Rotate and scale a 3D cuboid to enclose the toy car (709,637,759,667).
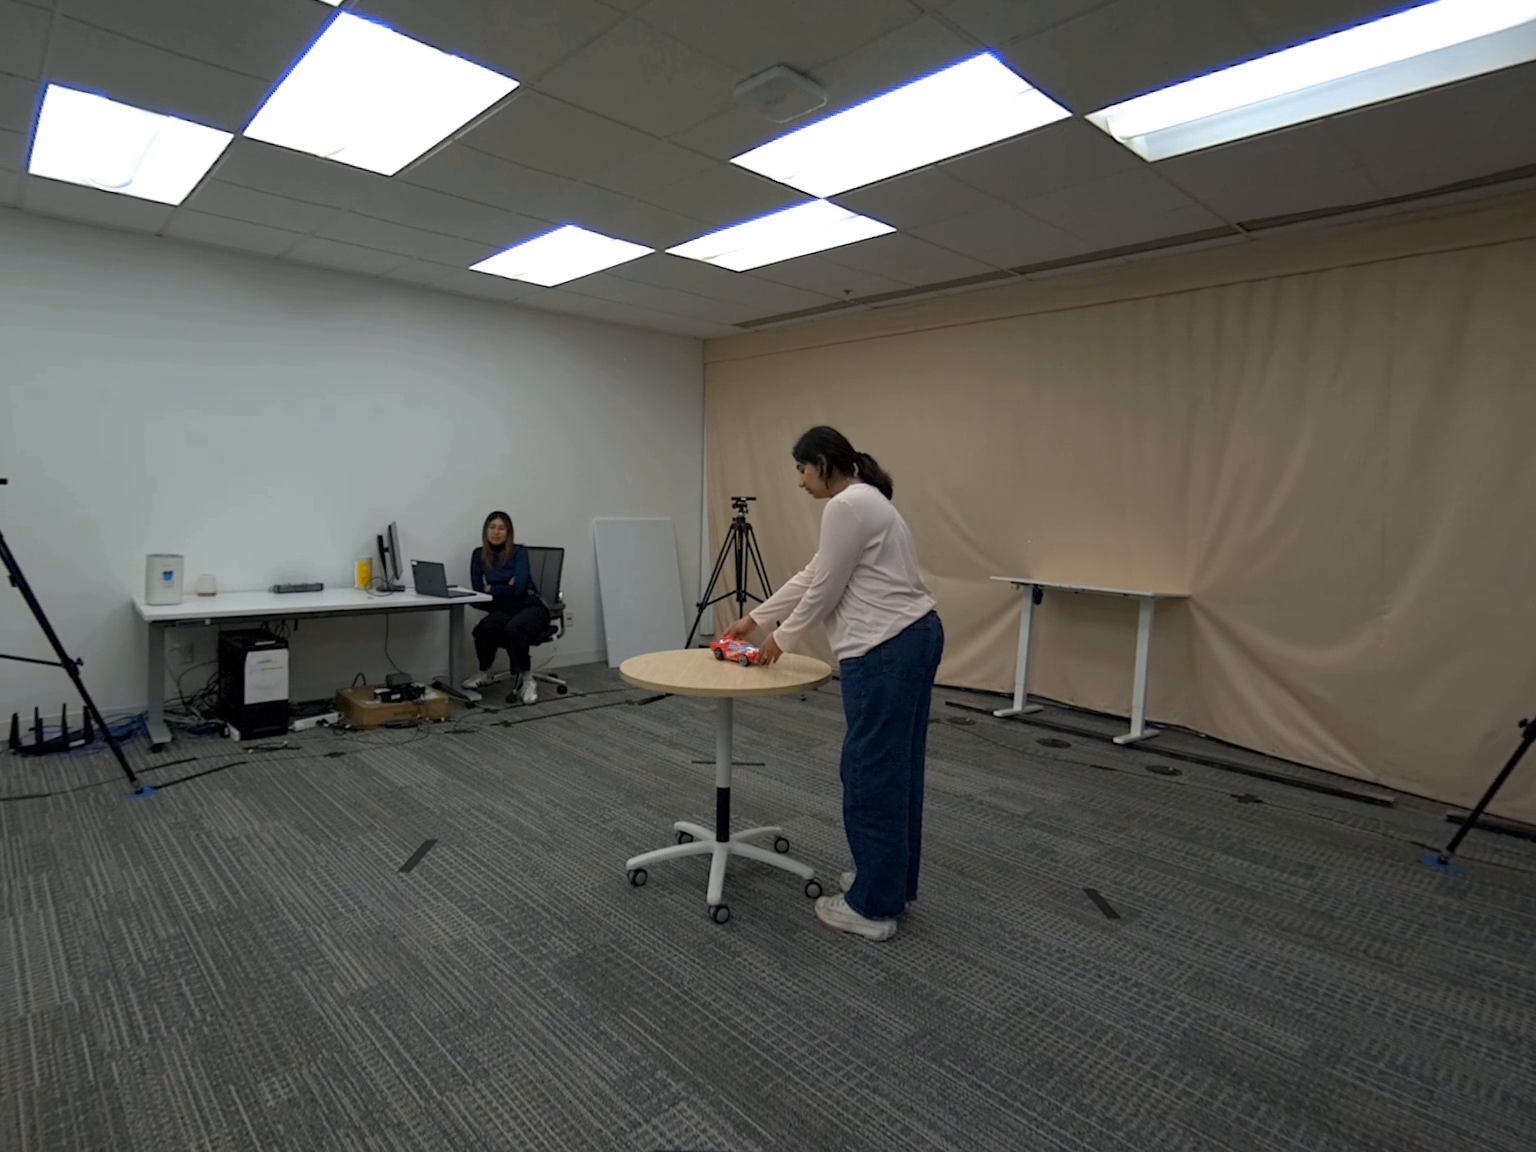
[{"bbox_3d":[-0.118,0.289,3.157,0.127,0.083,0.262,0,14,-40],"label":"toy car"}]
